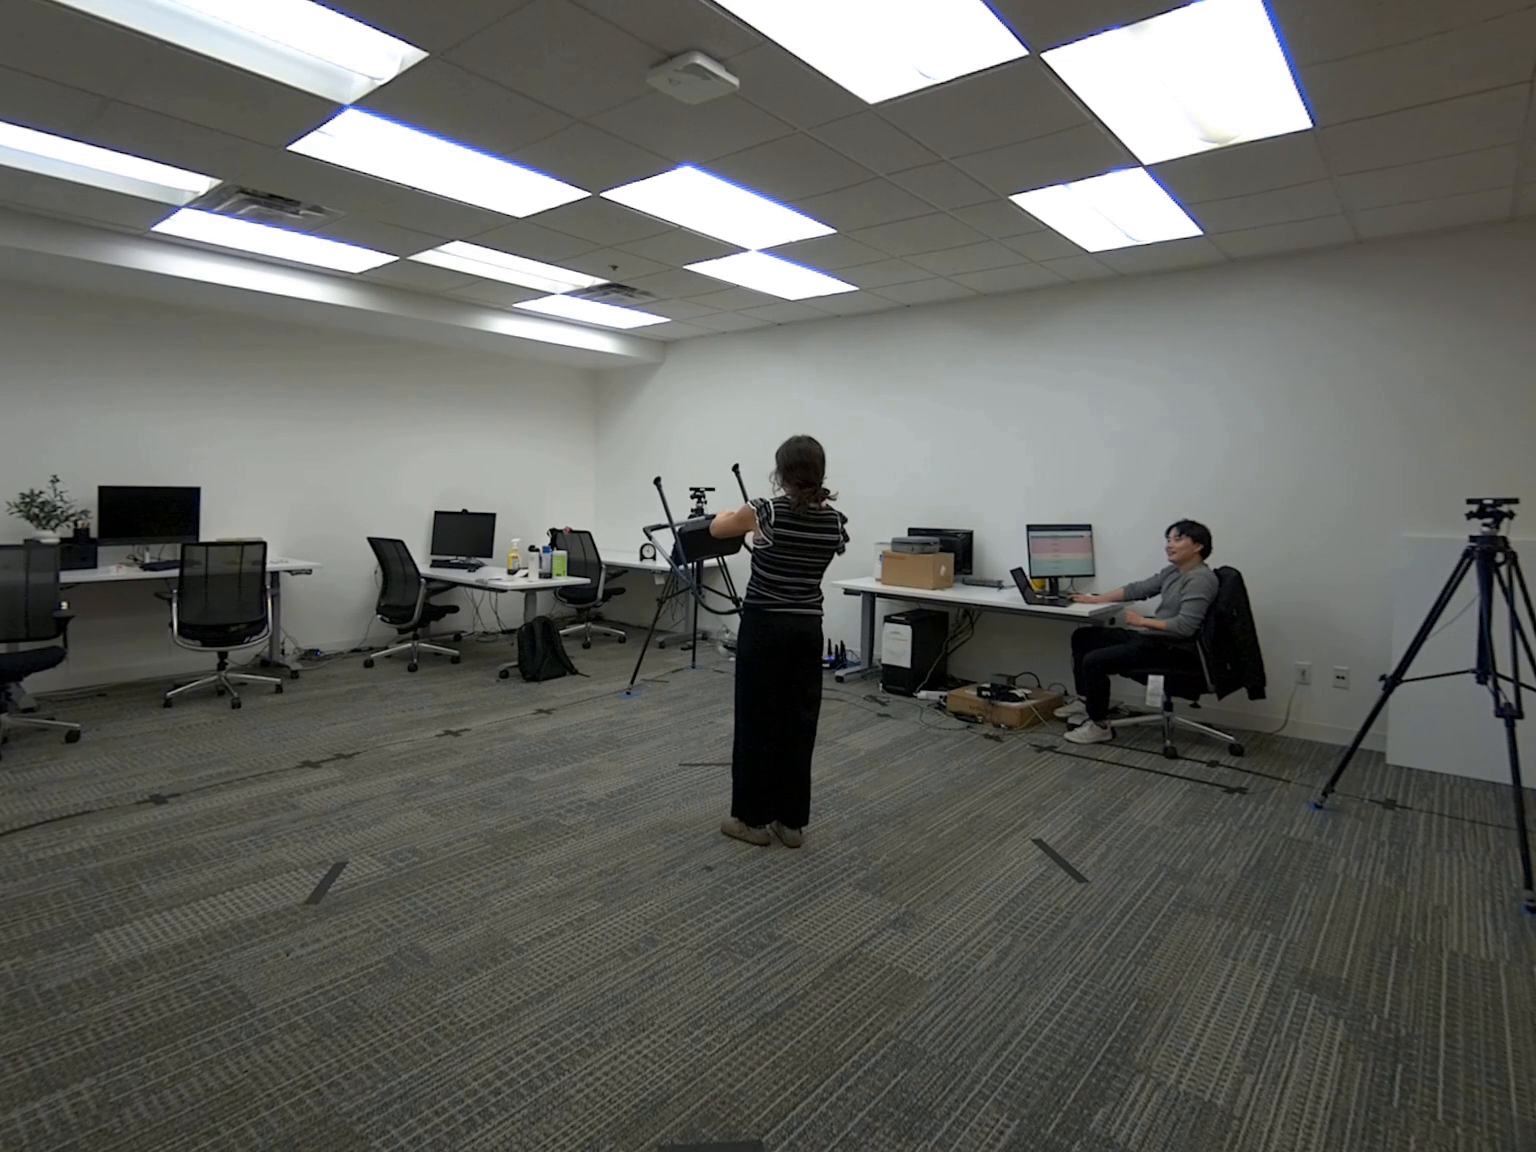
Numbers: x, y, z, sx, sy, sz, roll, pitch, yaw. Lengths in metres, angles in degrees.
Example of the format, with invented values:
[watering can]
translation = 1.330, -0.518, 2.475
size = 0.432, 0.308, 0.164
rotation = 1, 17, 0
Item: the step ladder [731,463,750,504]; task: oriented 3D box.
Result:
[step ladder]
translation = -0.232, -0.134, 3.741
size = 0.422, 0.628, 0.344
rotation = -13, -34, -28
